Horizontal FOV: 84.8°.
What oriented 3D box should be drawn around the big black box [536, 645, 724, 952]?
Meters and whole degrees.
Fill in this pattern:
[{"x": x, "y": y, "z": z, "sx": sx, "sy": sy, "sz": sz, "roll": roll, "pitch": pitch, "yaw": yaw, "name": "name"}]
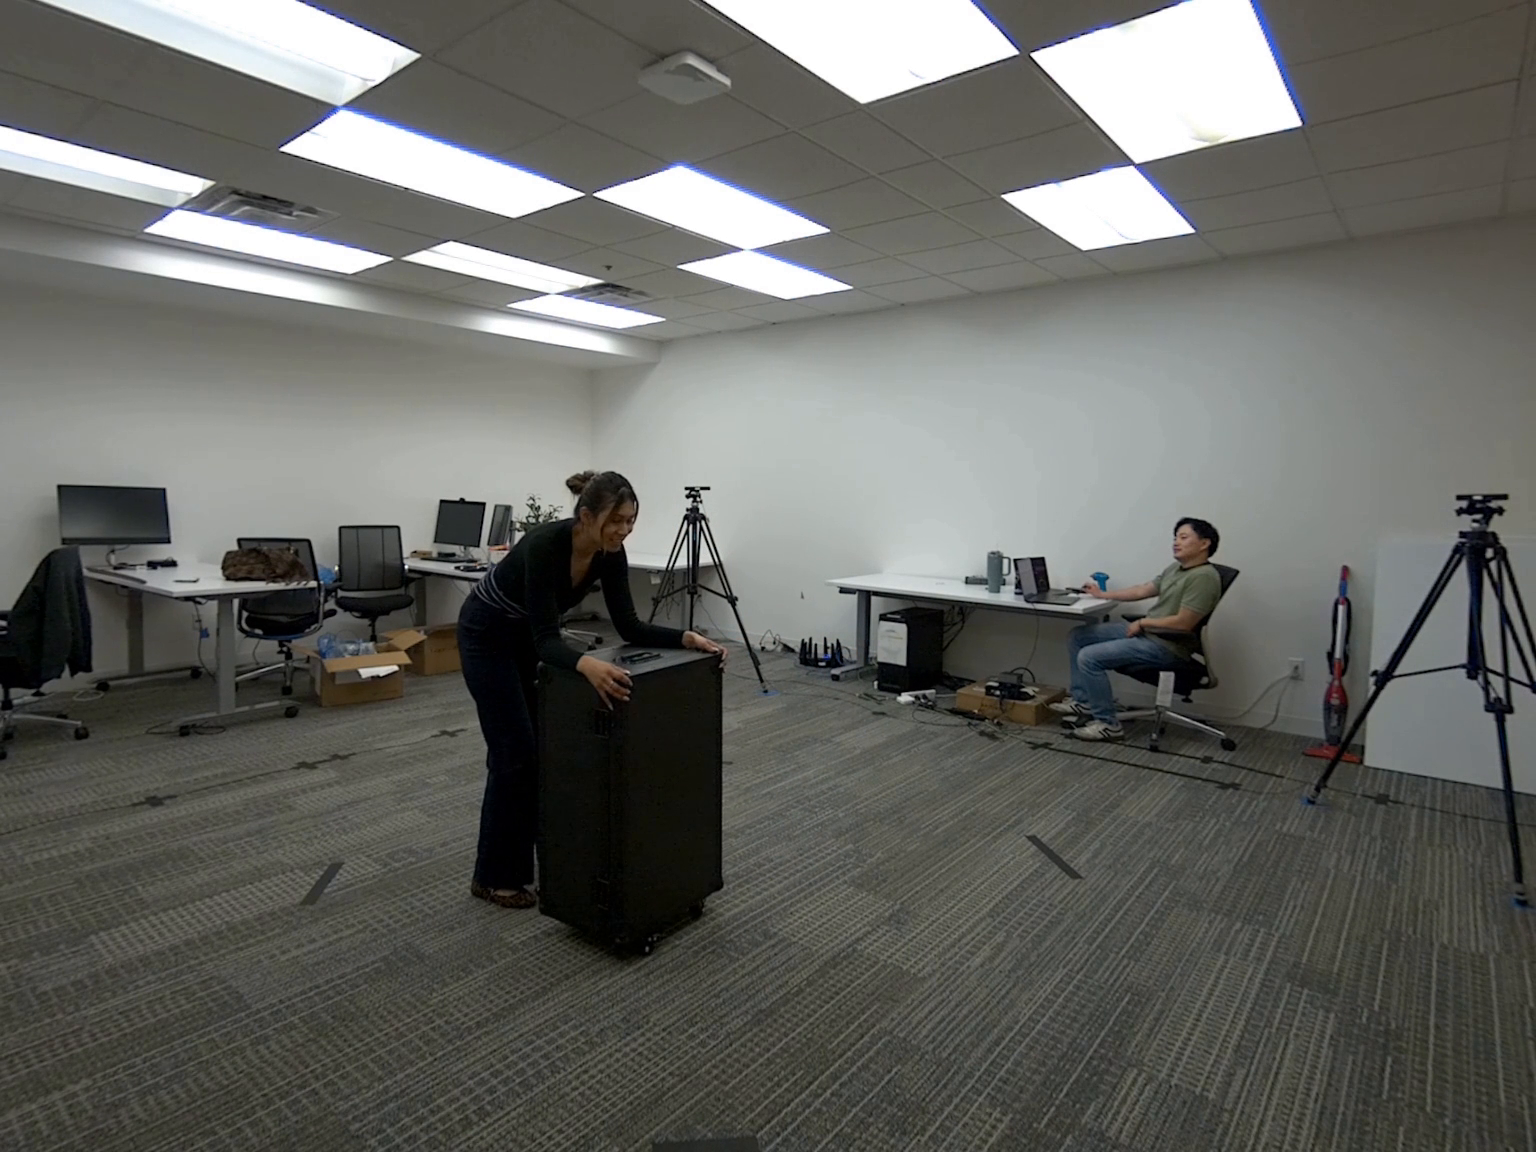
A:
[{"x": -0.448, "y": 0.679, "z": 2.693, "sx": 0.408, "sy": 0.860, "sz": 0.506, "roll": 1, "pitch": 3, "yaw": 35, "name": "big black box"}]
